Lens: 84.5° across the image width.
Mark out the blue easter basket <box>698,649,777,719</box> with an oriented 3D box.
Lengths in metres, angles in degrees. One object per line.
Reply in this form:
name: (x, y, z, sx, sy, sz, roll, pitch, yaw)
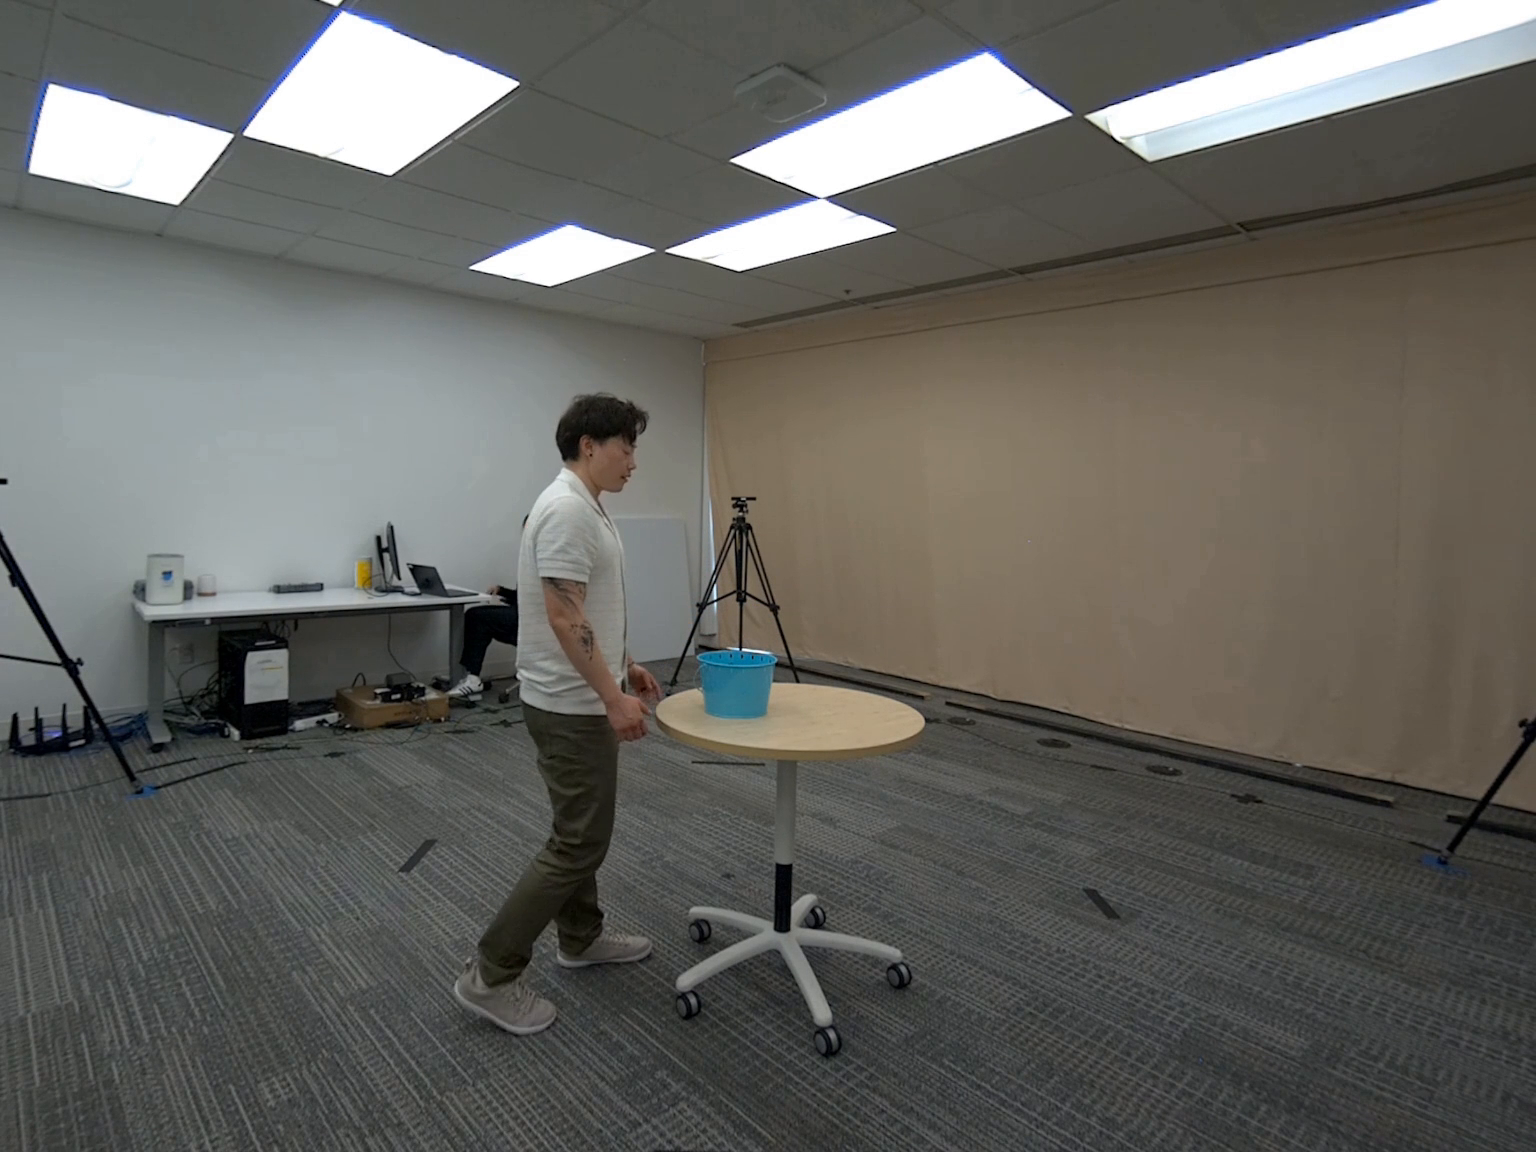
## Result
blue easter basket: (-0.099, 0.315, 2.409, 0.243, 0.155, 0.244, 1, 4, -1)
